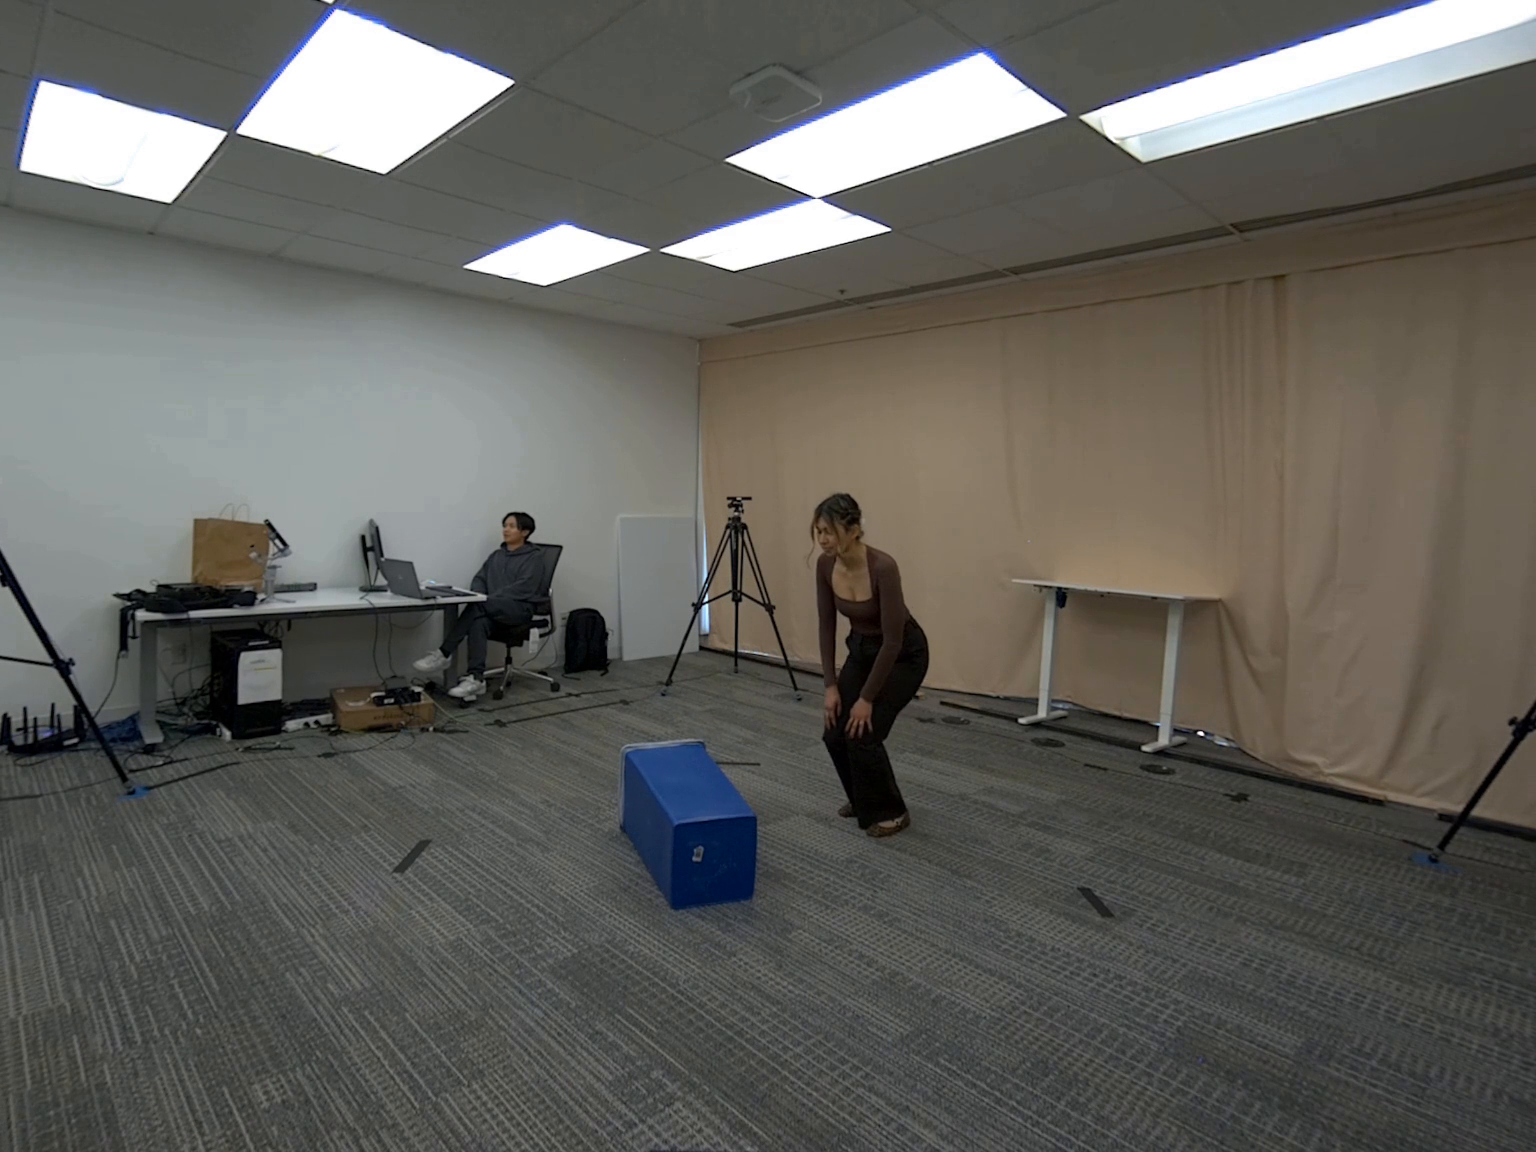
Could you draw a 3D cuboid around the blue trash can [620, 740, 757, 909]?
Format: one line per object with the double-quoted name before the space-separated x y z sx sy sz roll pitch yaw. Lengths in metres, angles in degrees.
"blue trash can" -0.322 0.921 3.193 0.368 0.376 0.727 1 6 -21
